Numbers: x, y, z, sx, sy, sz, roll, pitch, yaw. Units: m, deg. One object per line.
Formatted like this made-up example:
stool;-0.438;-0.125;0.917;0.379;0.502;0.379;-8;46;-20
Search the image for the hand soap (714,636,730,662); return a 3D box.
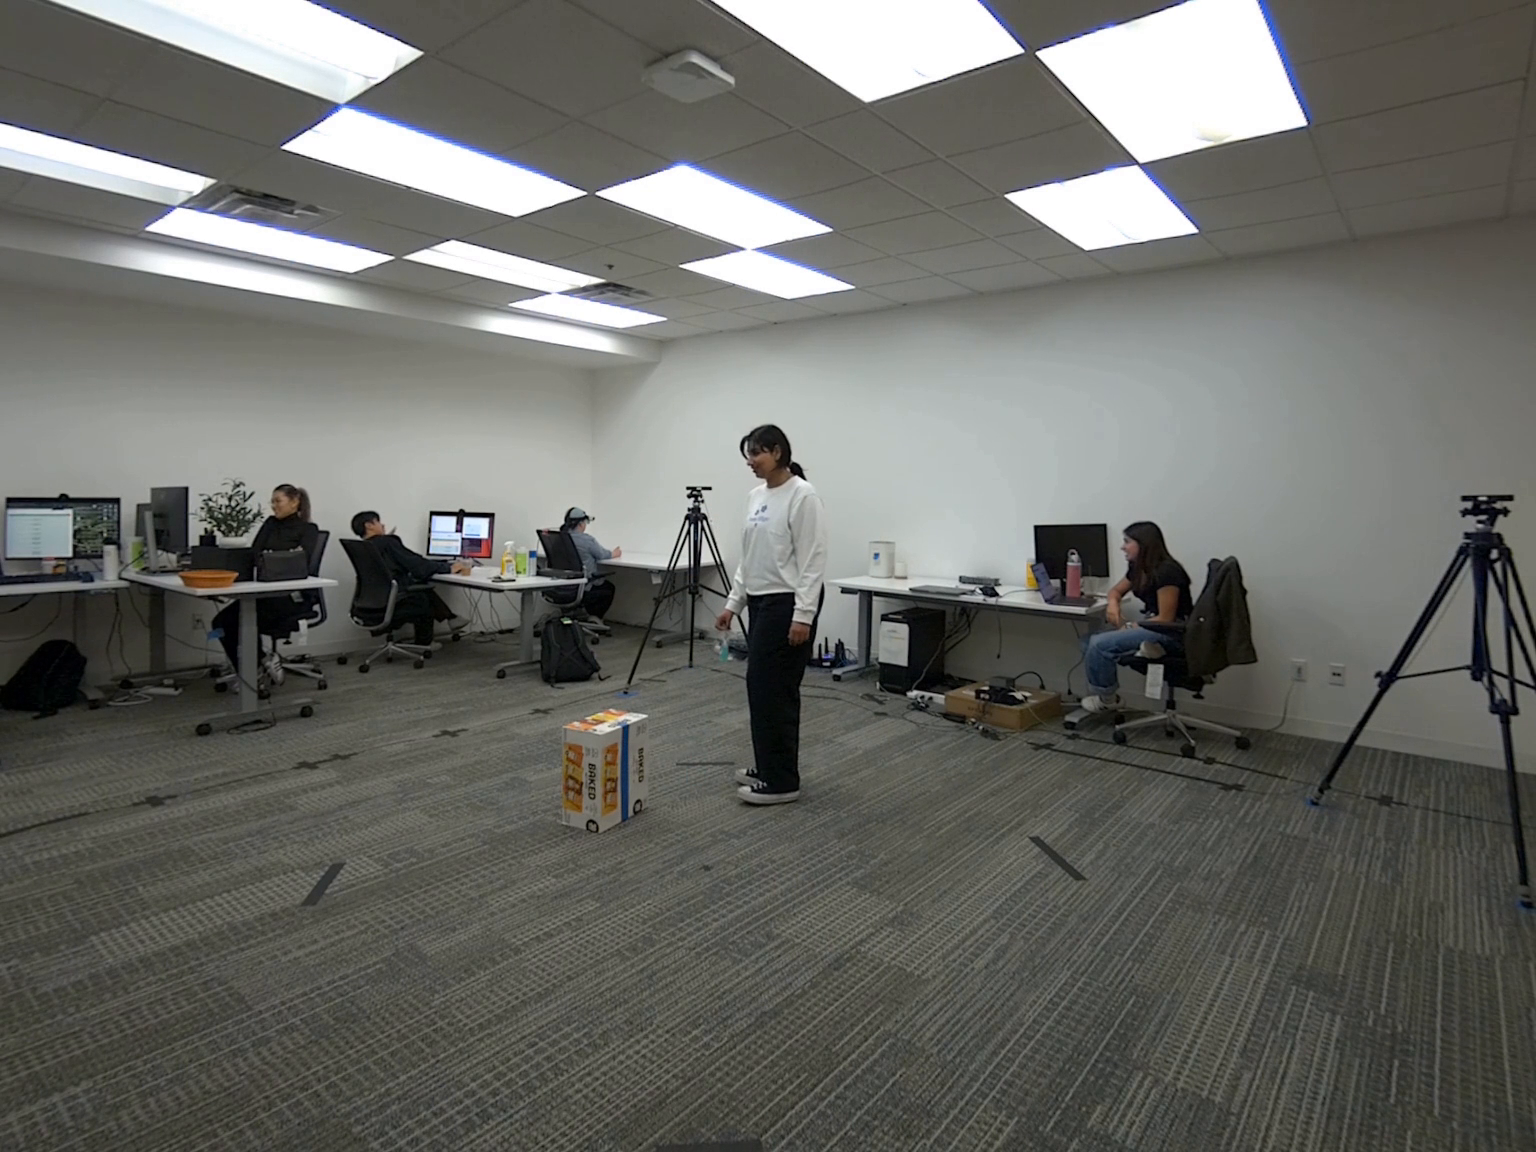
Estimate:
hand soap;-0.201;0.316;4.075;0.043;0.168;0.085;9;-1;-10
